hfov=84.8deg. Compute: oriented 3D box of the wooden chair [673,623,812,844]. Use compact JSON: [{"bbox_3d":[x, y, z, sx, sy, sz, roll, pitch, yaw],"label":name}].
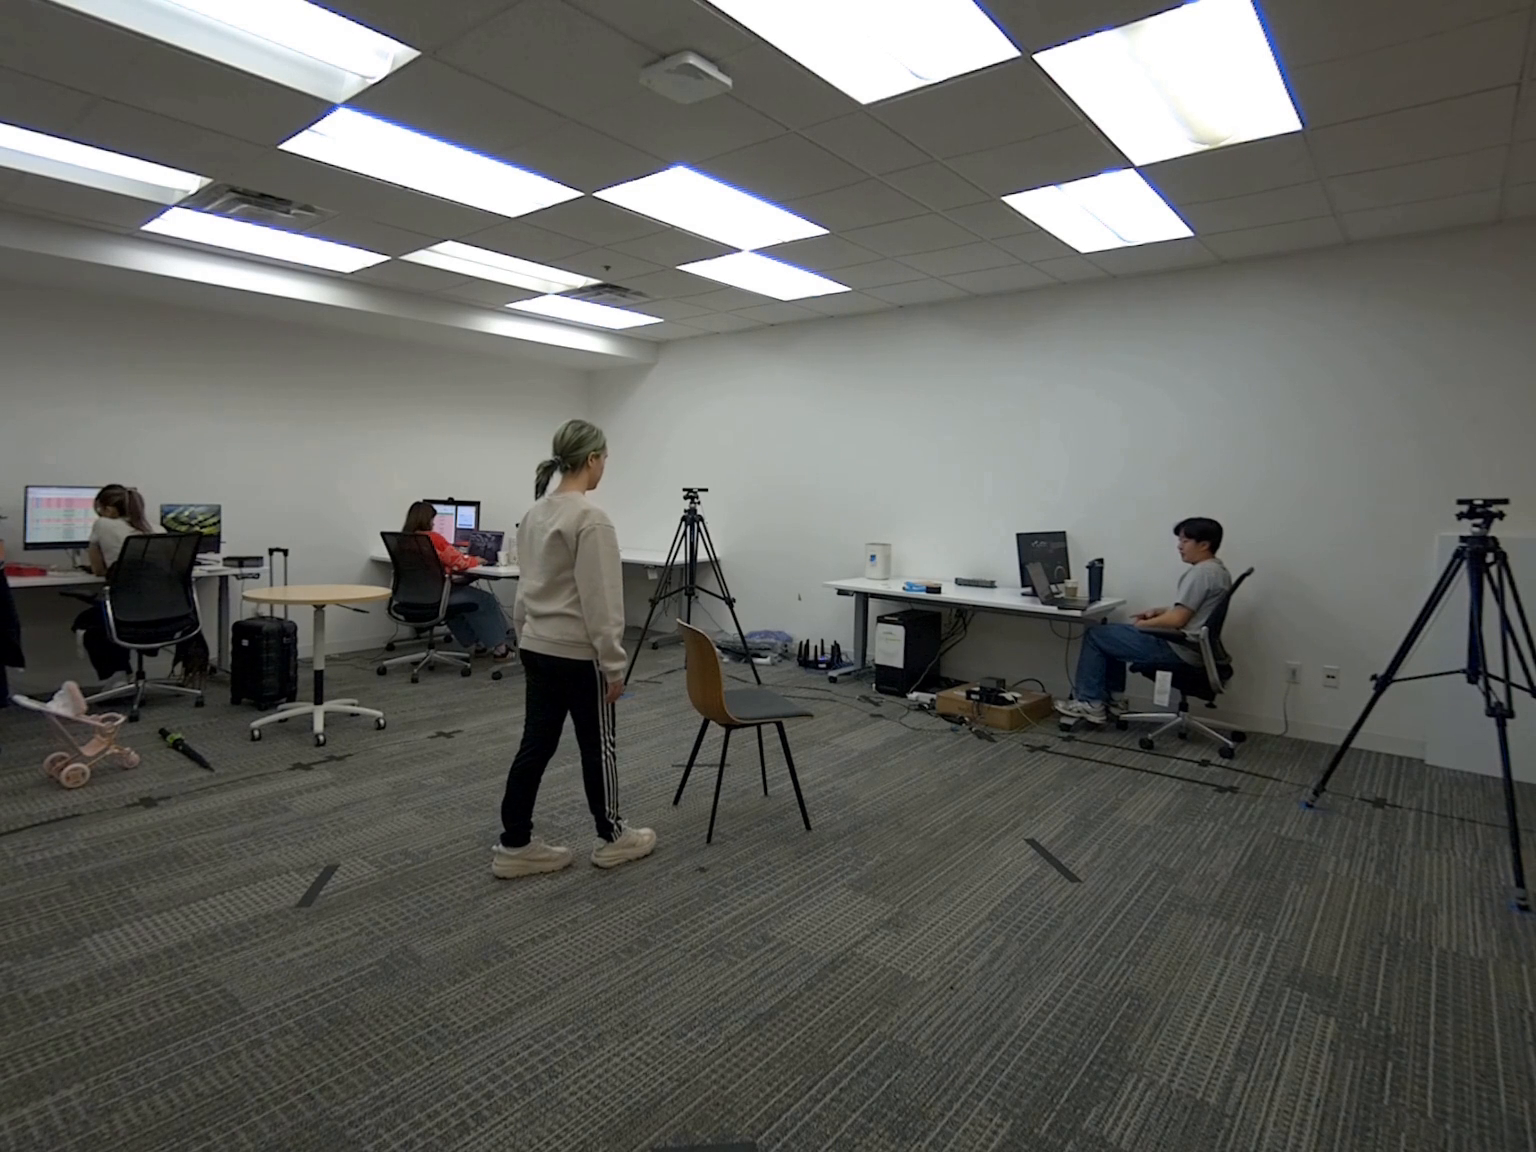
[{"bbox_3d":[-0.114,0.600,3.591,0.513,0.874,0.490,-4,5,-22],"label":"wooden chair"}]
